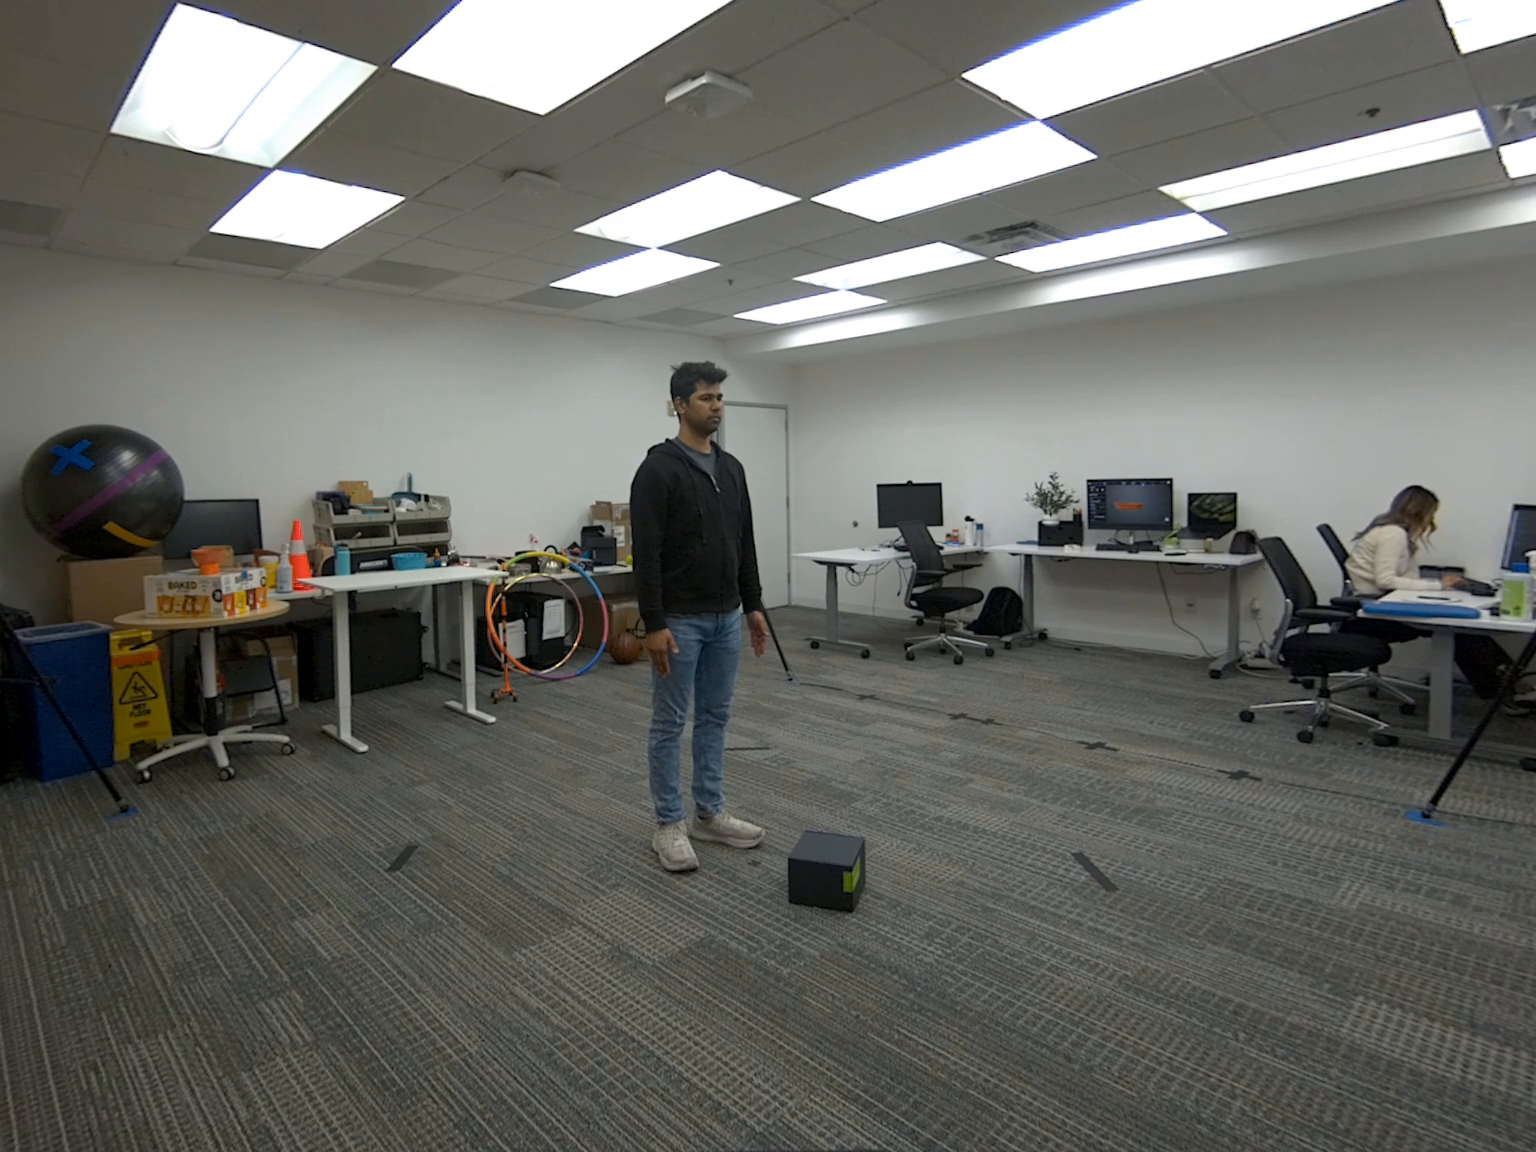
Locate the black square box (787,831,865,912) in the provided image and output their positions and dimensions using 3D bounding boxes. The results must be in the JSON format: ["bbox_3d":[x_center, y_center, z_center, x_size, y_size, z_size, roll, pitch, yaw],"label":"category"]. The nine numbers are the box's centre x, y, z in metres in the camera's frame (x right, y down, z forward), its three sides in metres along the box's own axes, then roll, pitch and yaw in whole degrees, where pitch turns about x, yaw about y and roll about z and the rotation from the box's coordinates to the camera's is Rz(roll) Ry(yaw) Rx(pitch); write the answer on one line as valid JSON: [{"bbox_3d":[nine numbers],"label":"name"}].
[{"bbox_3d":[0.206,0.981,2.869,0.221,0.155,0.225,0,6,18],"label":"black square box"}]
